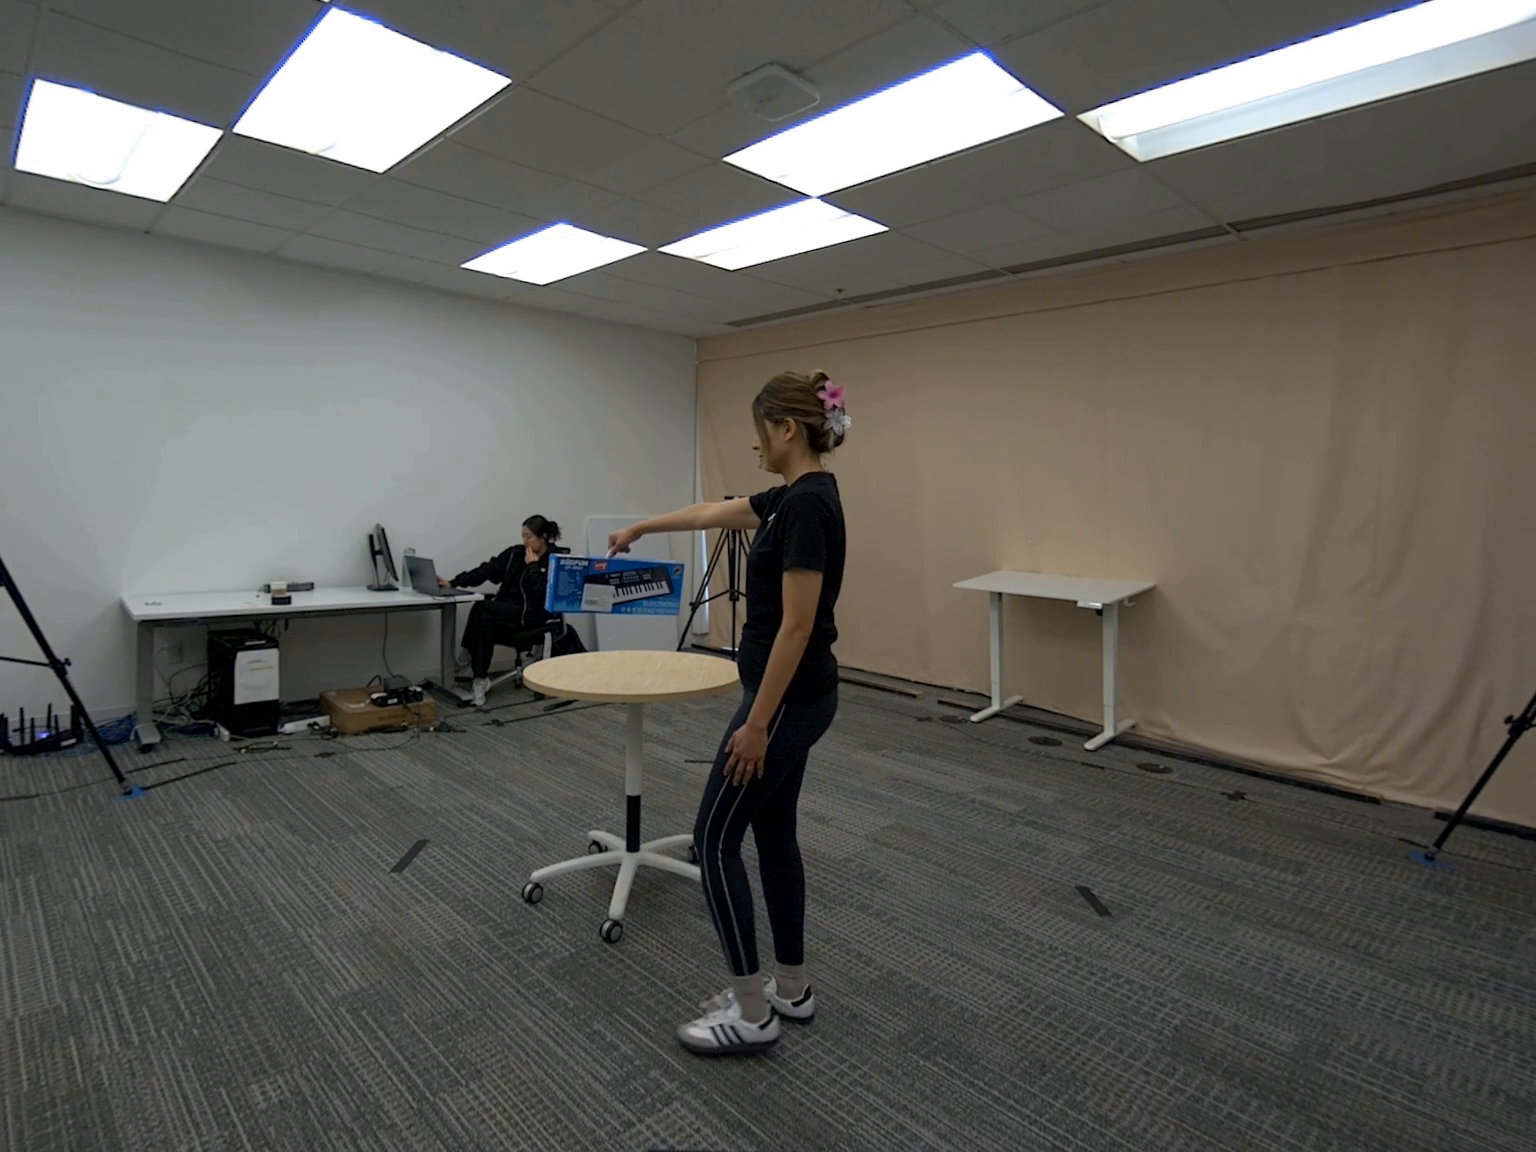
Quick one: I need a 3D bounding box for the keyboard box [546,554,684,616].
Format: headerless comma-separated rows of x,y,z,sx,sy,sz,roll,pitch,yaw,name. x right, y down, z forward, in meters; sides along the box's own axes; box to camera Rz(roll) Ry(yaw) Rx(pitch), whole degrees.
-0.477,0.036,2.634,0.427,0.175,0.060,3,5,-33,keyboard box
